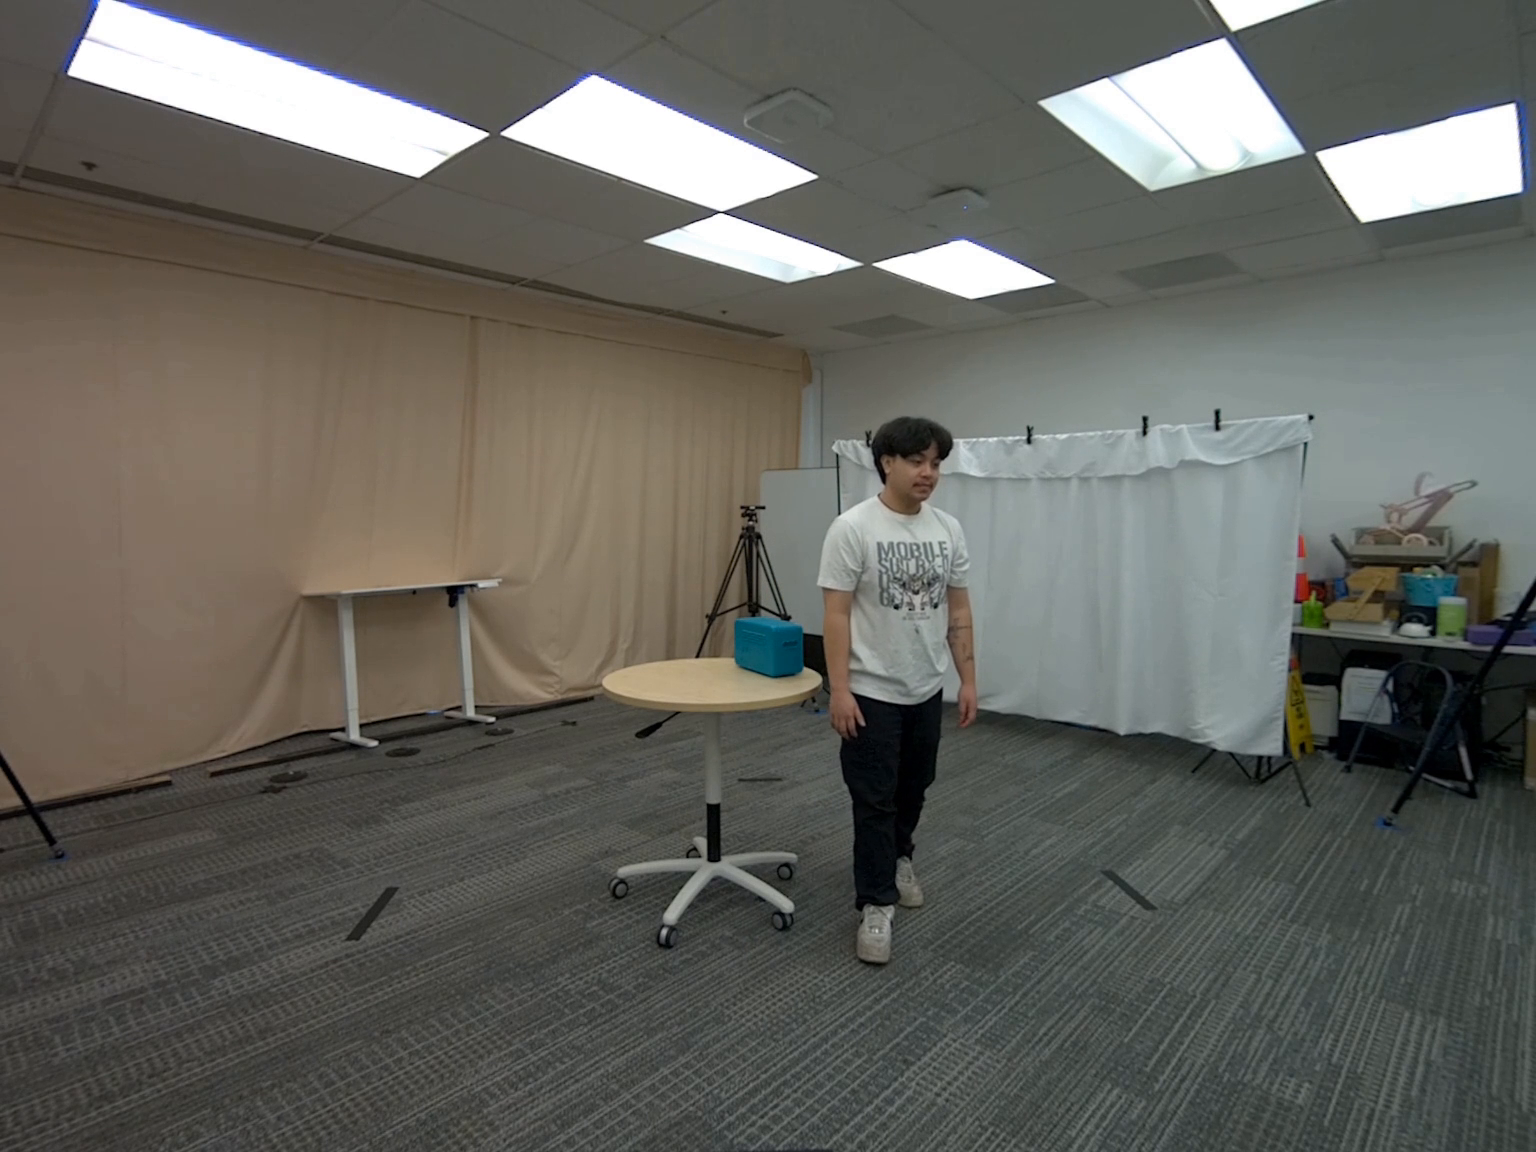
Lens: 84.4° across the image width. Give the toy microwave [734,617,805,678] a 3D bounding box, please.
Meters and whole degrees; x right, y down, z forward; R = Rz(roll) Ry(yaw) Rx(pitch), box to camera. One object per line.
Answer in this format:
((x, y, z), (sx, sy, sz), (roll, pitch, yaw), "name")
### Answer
((0.008, 0.253, 3.059), (0.148, 0.184, 0.294), (-3, 5, -30), "toy microwave")
